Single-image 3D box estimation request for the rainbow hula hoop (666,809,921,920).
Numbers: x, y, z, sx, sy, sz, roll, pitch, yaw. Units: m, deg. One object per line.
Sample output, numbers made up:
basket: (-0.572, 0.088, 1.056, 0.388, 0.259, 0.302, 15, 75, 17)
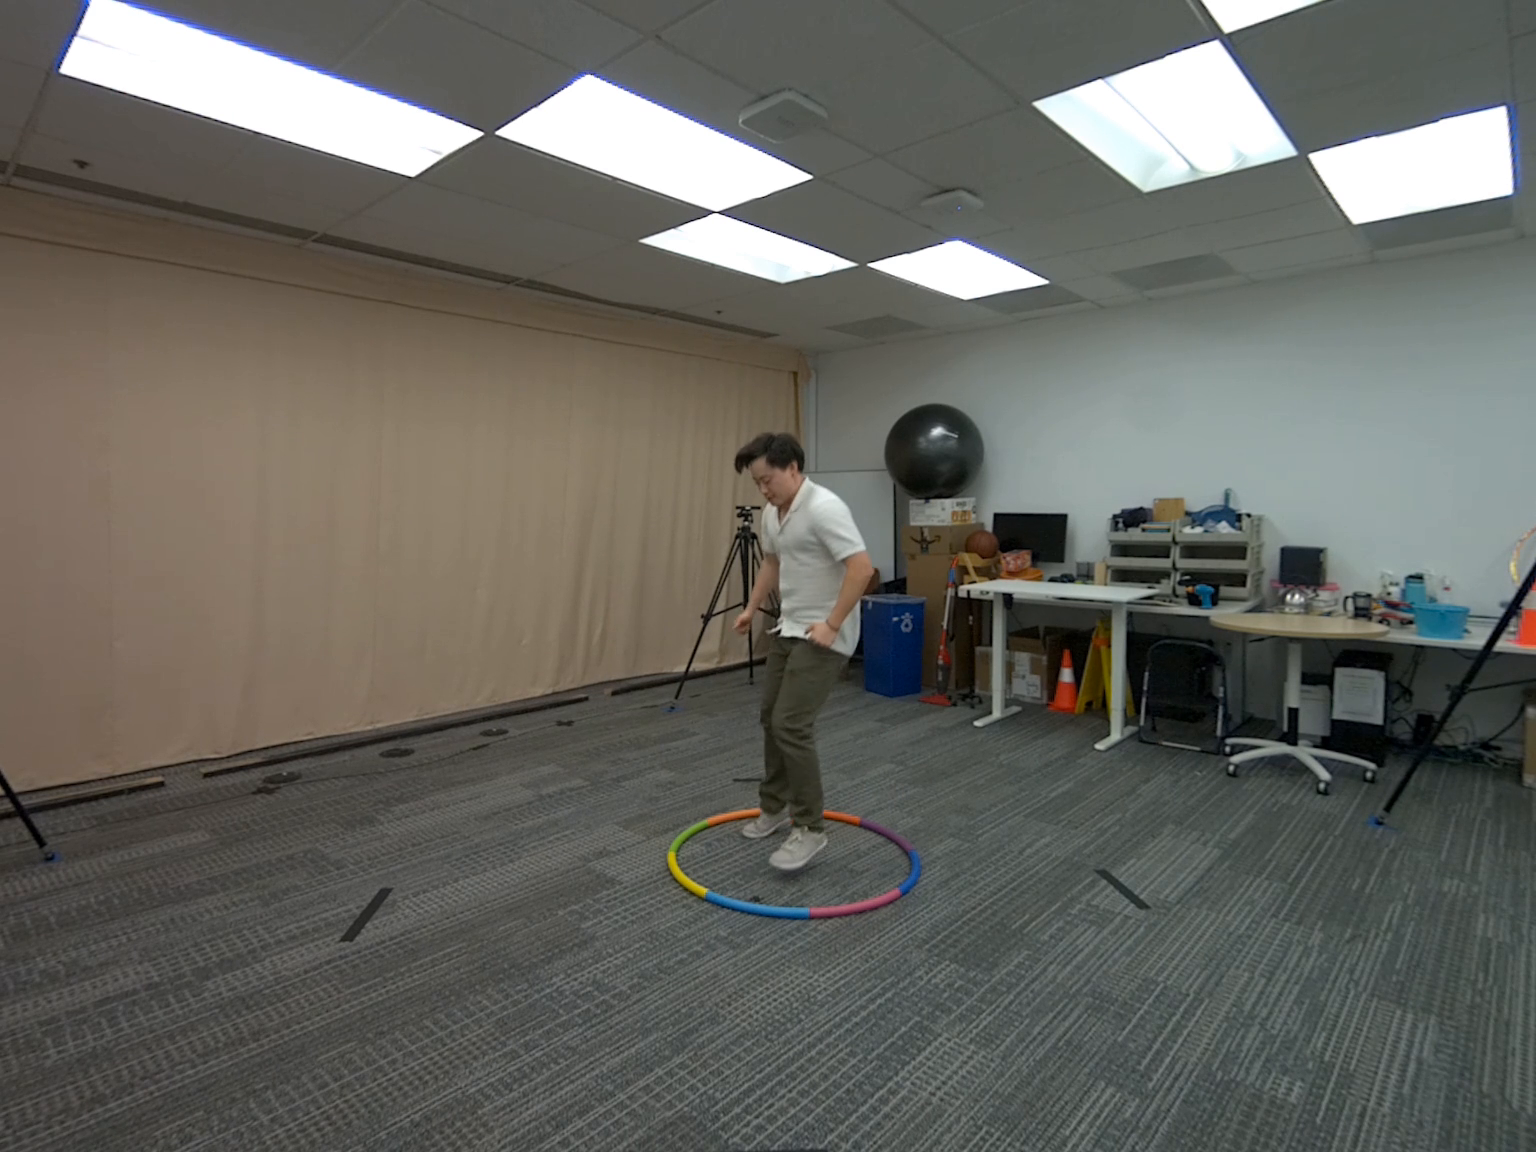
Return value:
rainbow hula hoop: (0.097, 1.089, 3.316, 0.978, 0.035, 0.982, 0, 5, -2)
